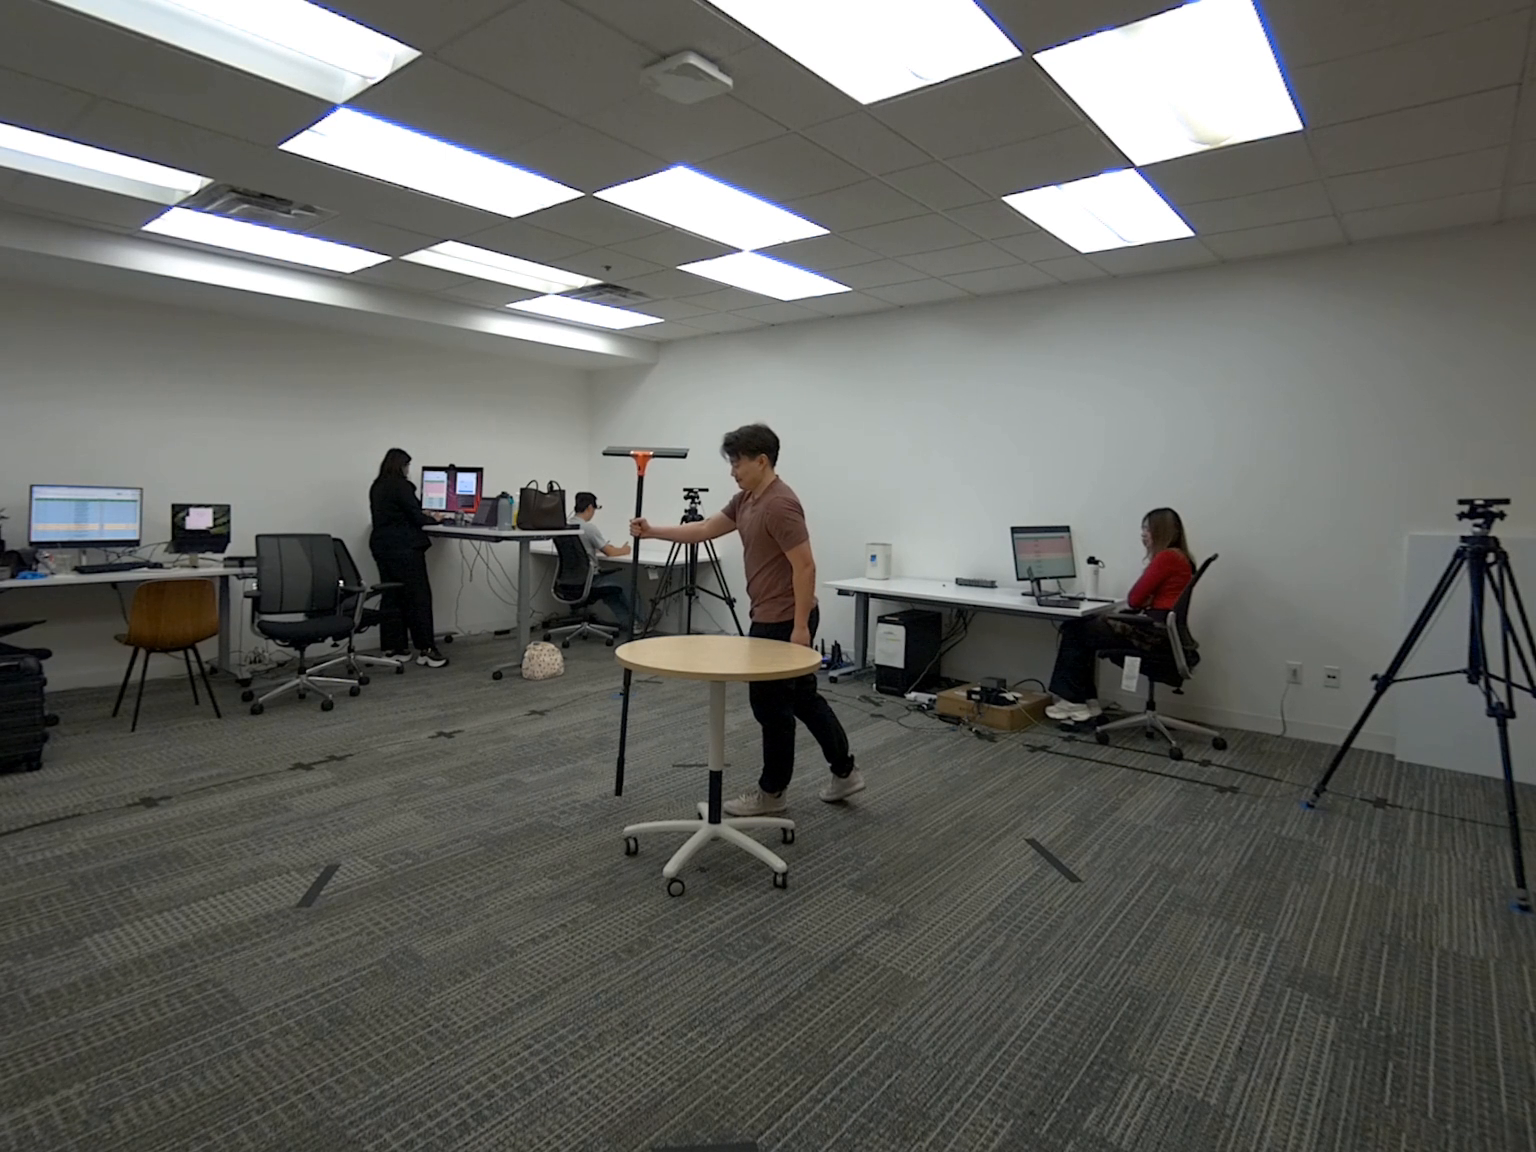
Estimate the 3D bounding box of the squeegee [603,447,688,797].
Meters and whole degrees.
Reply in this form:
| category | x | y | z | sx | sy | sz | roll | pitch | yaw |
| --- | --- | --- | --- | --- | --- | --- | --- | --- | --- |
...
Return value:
| category | x | y | z | sx | sy | sz | roll | pitch | yaw |
| --- | --- | --- | --- | --- | --- | --- | --- | --- | --- |
| squeegee | -0.604 | 0.211 | 3.687 | 0.451 | 1.536 | 0.051 | 4 | 1 | 34 |
